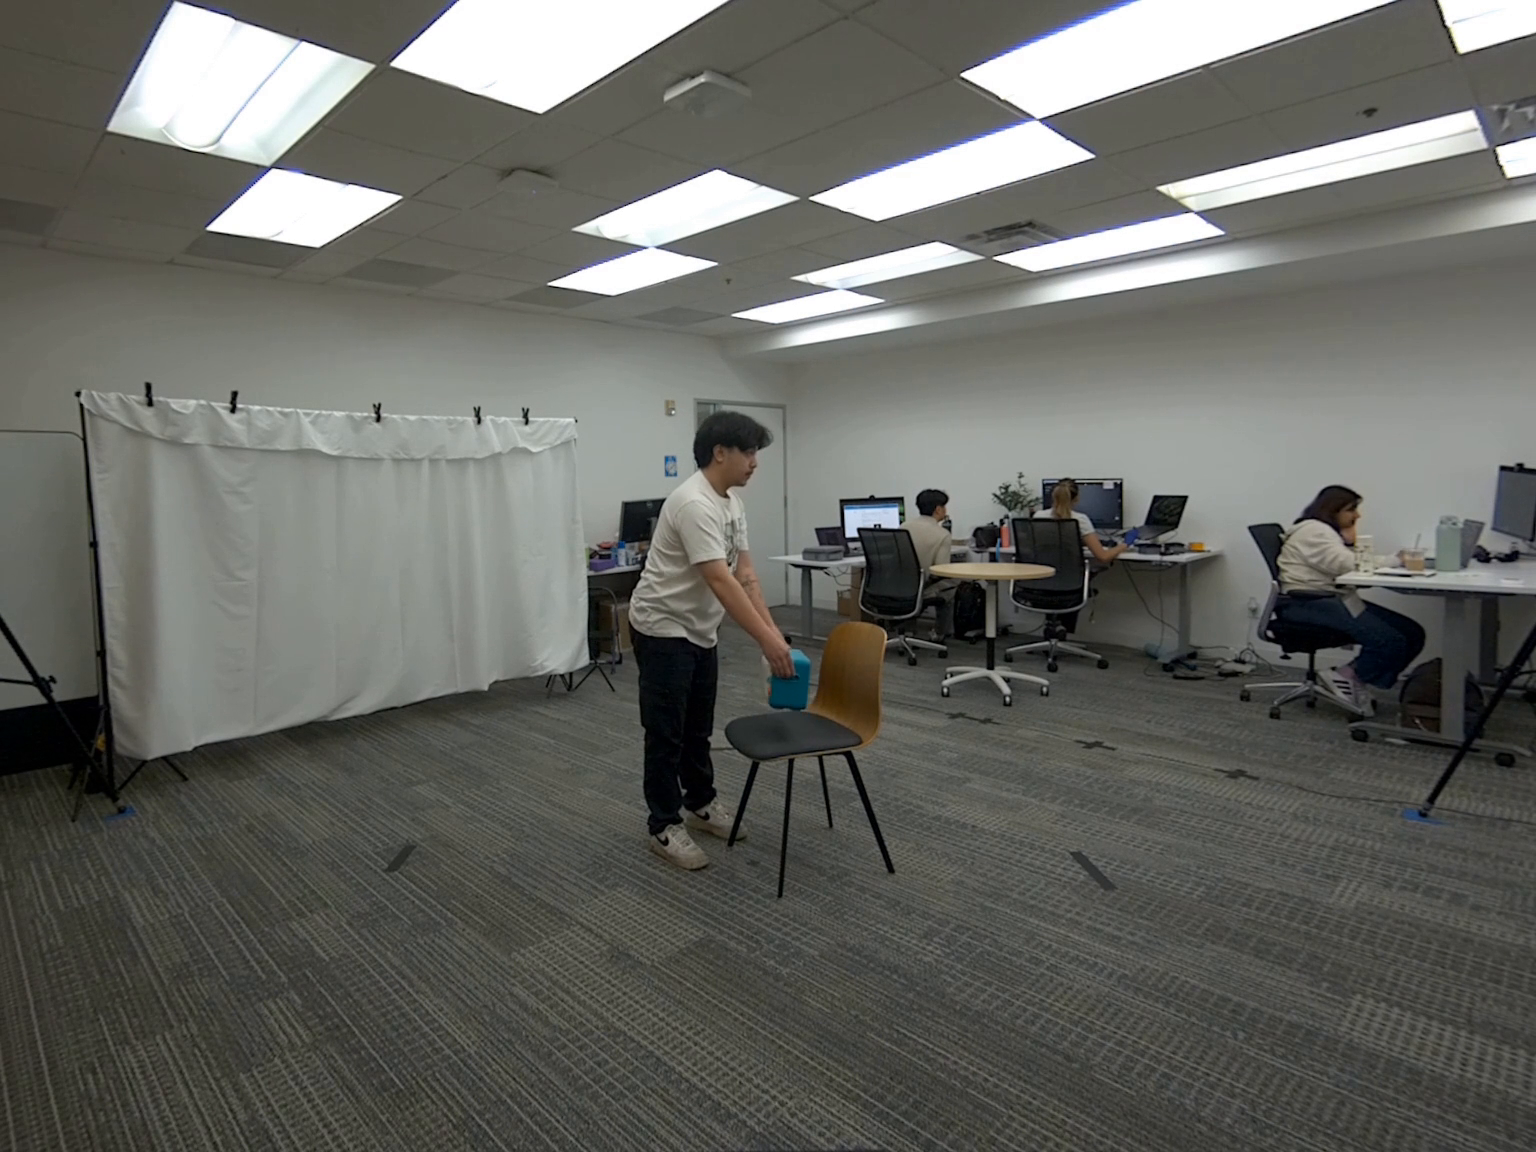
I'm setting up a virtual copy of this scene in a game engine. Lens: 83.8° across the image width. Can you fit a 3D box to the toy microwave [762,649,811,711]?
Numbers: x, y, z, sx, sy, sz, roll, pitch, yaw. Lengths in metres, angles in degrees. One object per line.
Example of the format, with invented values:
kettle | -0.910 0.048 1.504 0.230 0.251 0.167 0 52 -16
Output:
toy microwave | 0.058 0.370 3.068 0.152 0.184 0.286 4 1 -2
